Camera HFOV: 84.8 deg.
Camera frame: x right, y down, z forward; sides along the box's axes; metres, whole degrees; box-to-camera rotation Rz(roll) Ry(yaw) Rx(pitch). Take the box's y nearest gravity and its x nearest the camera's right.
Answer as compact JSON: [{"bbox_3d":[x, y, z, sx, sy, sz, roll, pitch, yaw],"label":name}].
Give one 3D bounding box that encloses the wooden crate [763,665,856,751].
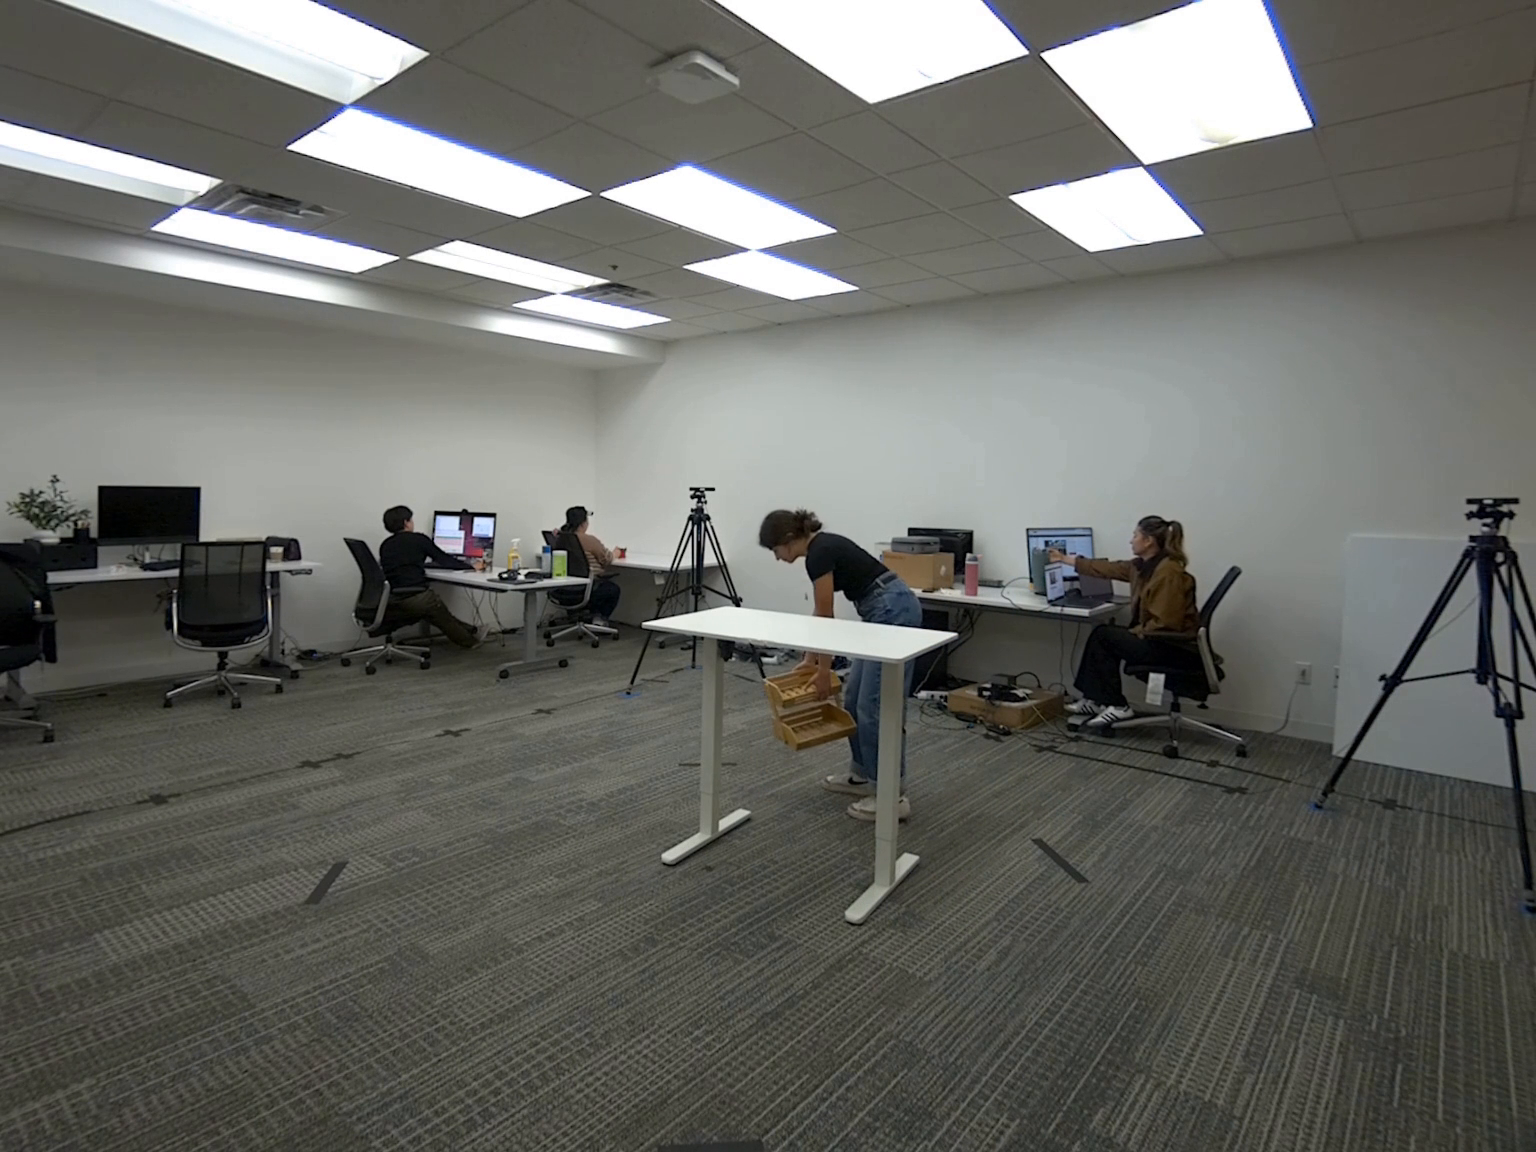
[{"bbox_3d":[0.182,0.590,3.859,0.319,0.271,0.310,-11,9,-22],"label":"wooden crate"}]
